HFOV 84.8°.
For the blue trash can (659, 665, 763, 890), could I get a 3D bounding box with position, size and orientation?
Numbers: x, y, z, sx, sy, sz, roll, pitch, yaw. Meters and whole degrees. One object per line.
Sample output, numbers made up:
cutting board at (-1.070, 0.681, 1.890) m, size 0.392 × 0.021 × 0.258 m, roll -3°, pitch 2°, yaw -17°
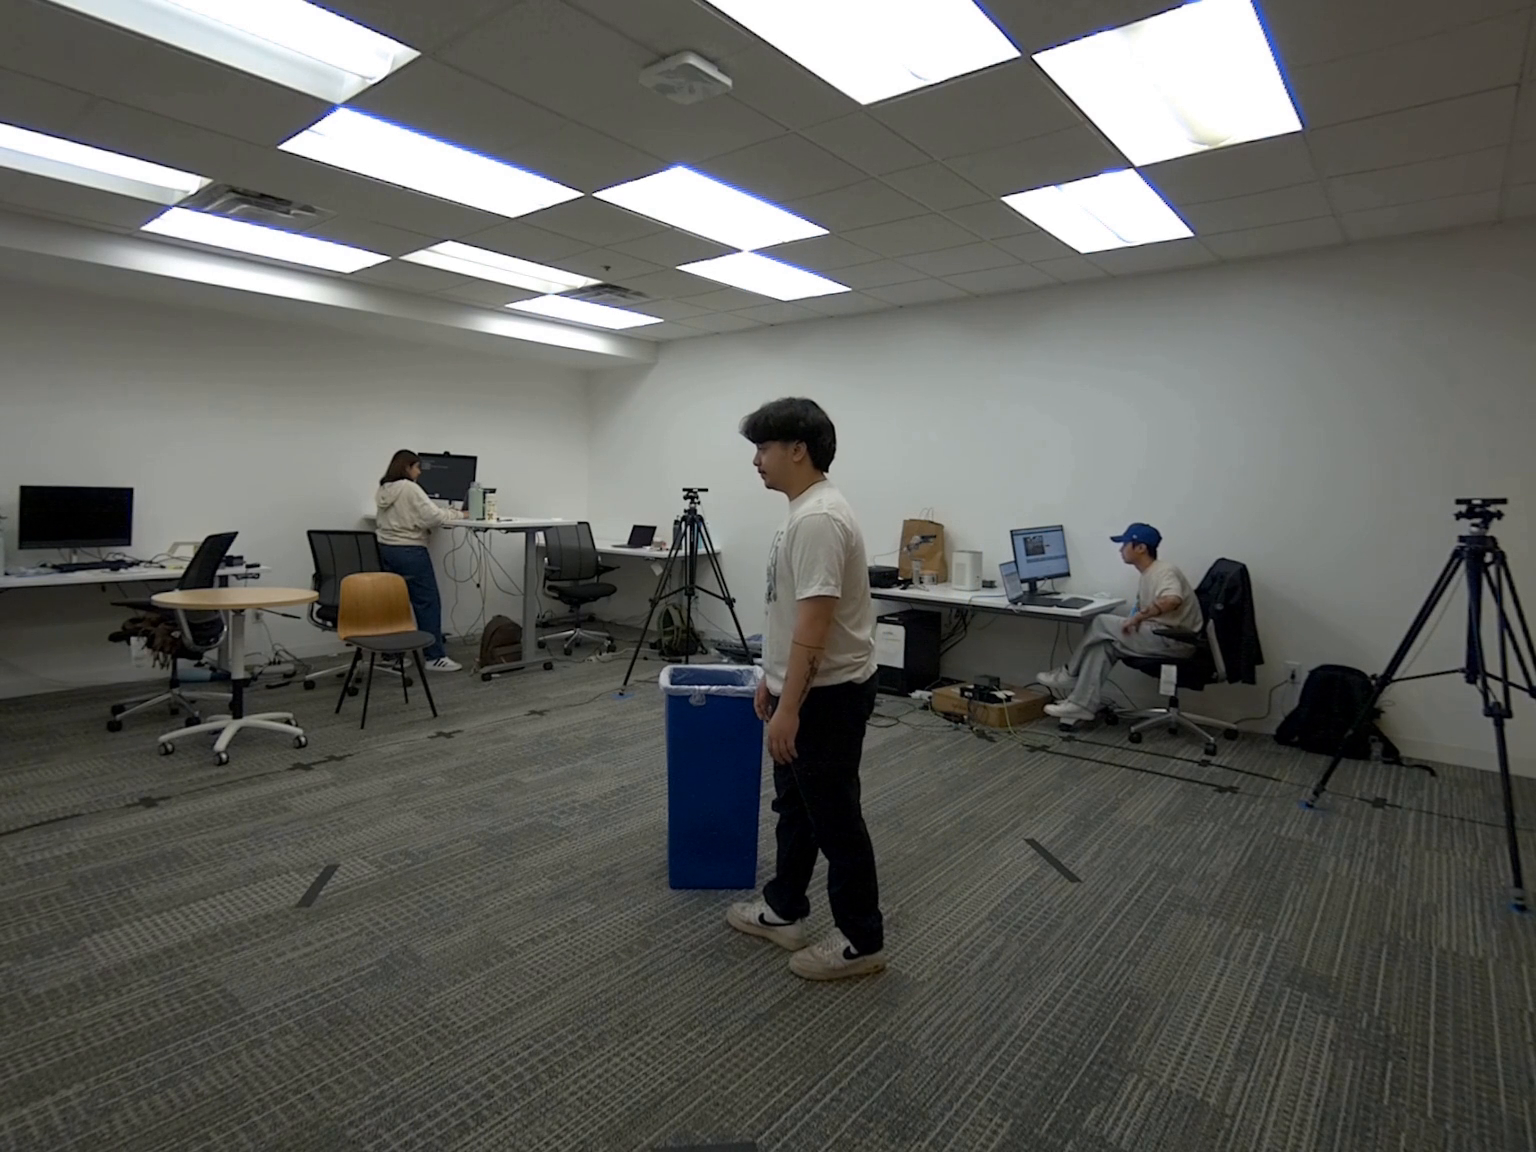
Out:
blue trash can at (-0.215, 0.715, 3.093) m, size 0.377 × 0.712 × 0.377 m, roll 1°, pitch 3°, yaw -4°
